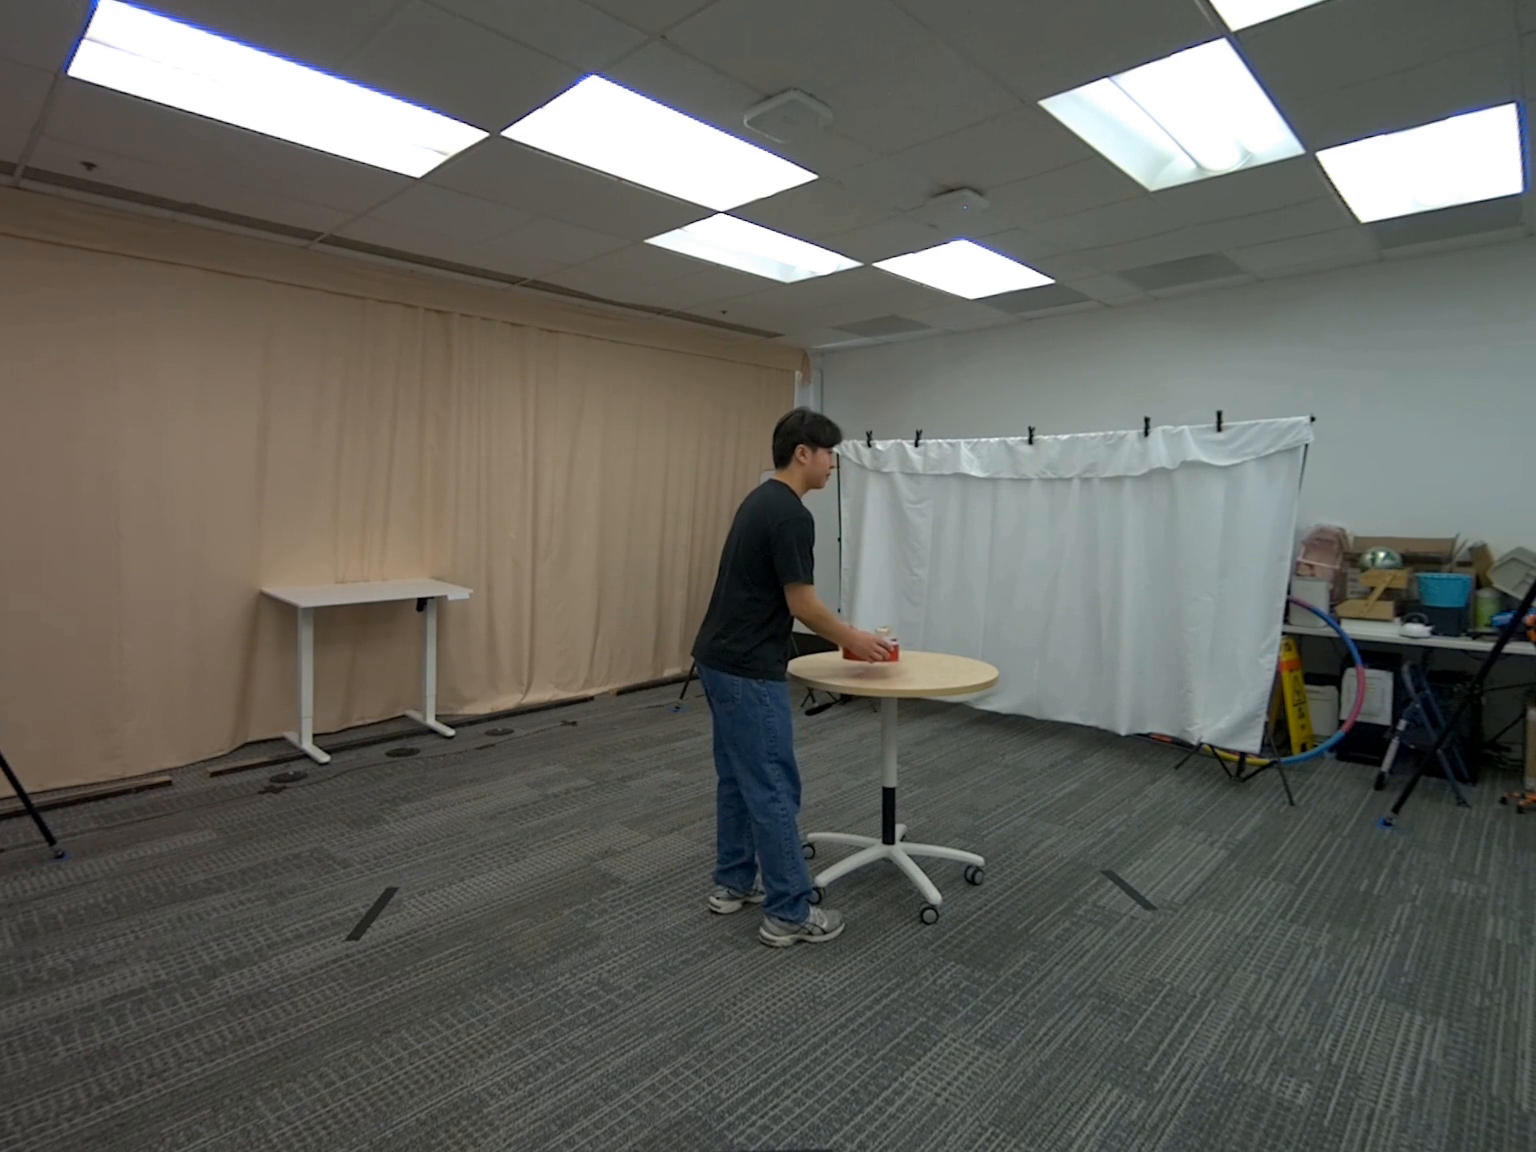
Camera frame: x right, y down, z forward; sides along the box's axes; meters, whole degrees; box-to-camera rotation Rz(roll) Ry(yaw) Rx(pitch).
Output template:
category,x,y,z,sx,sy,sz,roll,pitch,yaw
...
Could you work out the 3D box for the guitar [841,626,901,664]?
category,x,y,z,sx,sy,sz,roll,pitch,yaw
guitar,0.441,0.246,3.103,0.198,0.070,0.486,3,5,26
